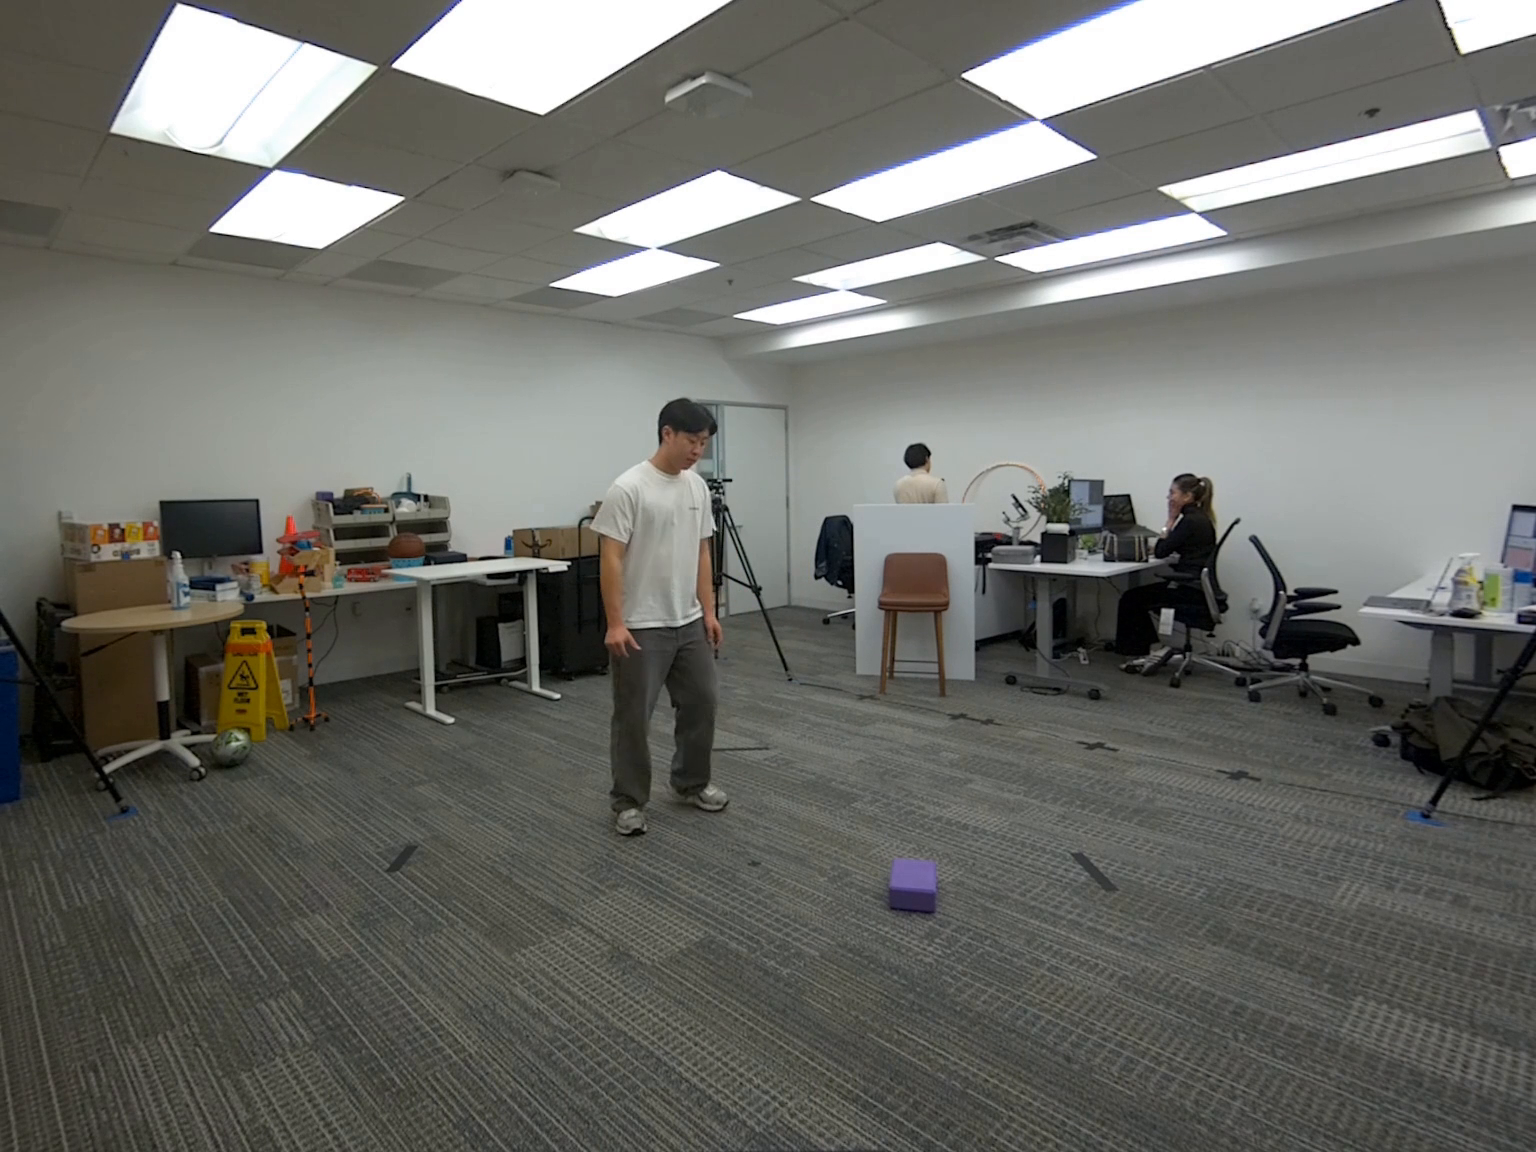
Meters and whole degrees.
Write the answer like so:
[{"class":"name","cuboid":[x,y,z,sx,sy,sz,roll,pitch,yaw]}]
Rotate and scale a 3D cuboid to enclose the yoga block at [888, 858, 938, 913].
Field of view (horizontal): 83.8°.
[{"class":"yoga block","cuboid":[0.488,1.026,2.850,0.151,0.076,0.227,-1,5,14]}]
